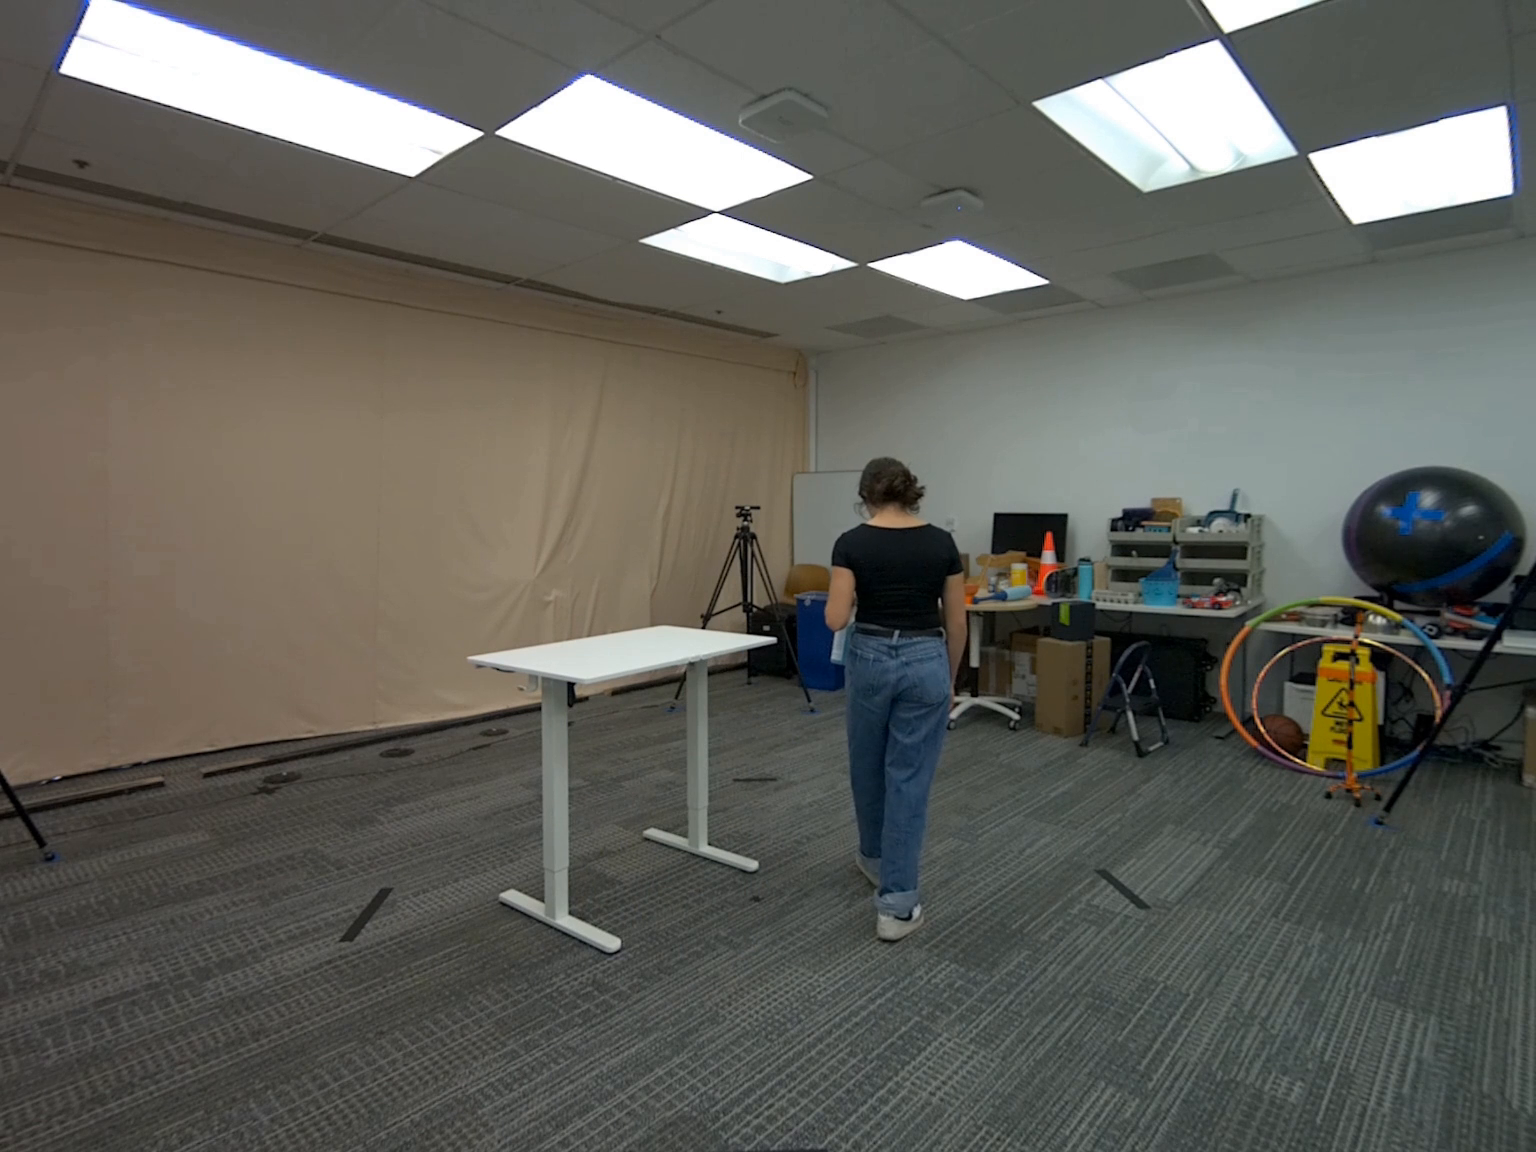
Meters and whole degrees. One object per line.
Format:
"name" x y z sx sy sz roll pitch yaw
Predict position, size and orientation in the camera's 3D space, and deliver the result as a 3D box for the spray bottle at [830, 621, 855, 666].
"spray bottle" 0.304 0.171 3.052 0.087 0.298 0.089 6 -3 4
